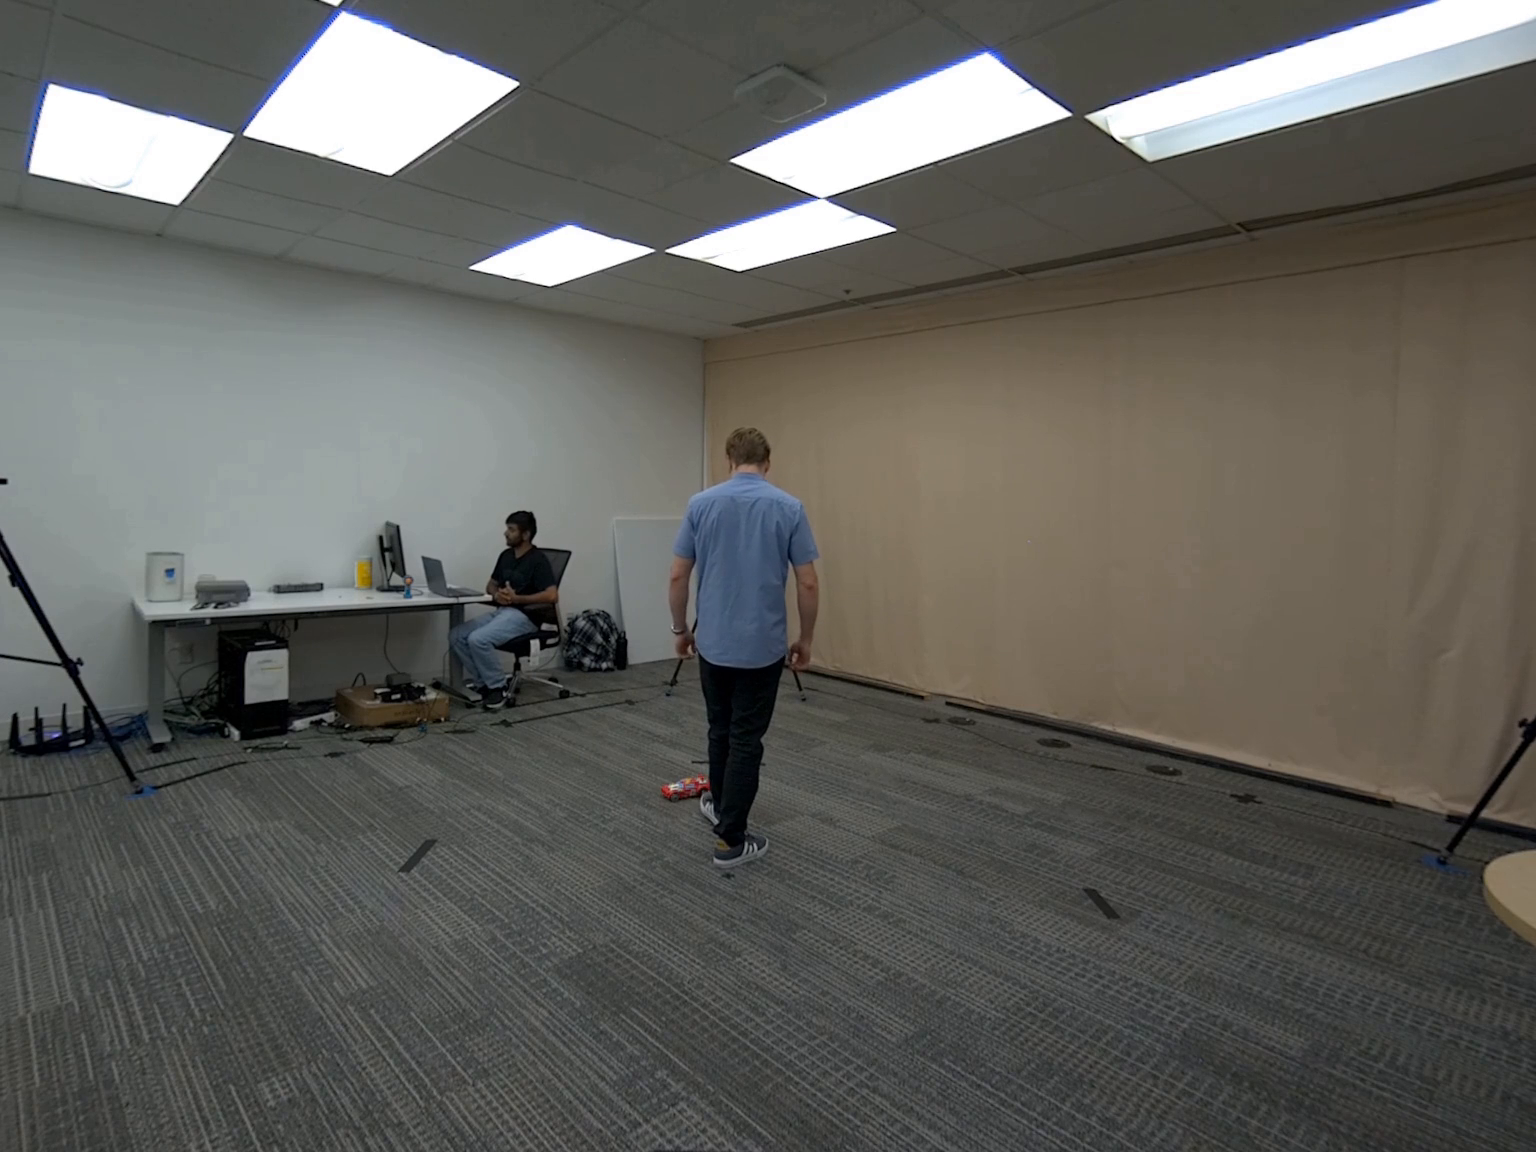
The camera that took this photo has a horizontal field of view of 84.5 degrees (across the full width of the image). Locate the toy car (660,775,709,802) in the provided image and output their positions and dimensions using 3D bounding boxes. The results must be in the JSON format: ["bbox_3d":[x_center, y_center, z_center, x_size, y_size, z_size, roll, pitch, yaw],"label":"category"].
[{"bbox_3d":[-0.381,0.998,3.943,0.251,0.083,0.133,-13,9,-25],"label":"toy car"}]
